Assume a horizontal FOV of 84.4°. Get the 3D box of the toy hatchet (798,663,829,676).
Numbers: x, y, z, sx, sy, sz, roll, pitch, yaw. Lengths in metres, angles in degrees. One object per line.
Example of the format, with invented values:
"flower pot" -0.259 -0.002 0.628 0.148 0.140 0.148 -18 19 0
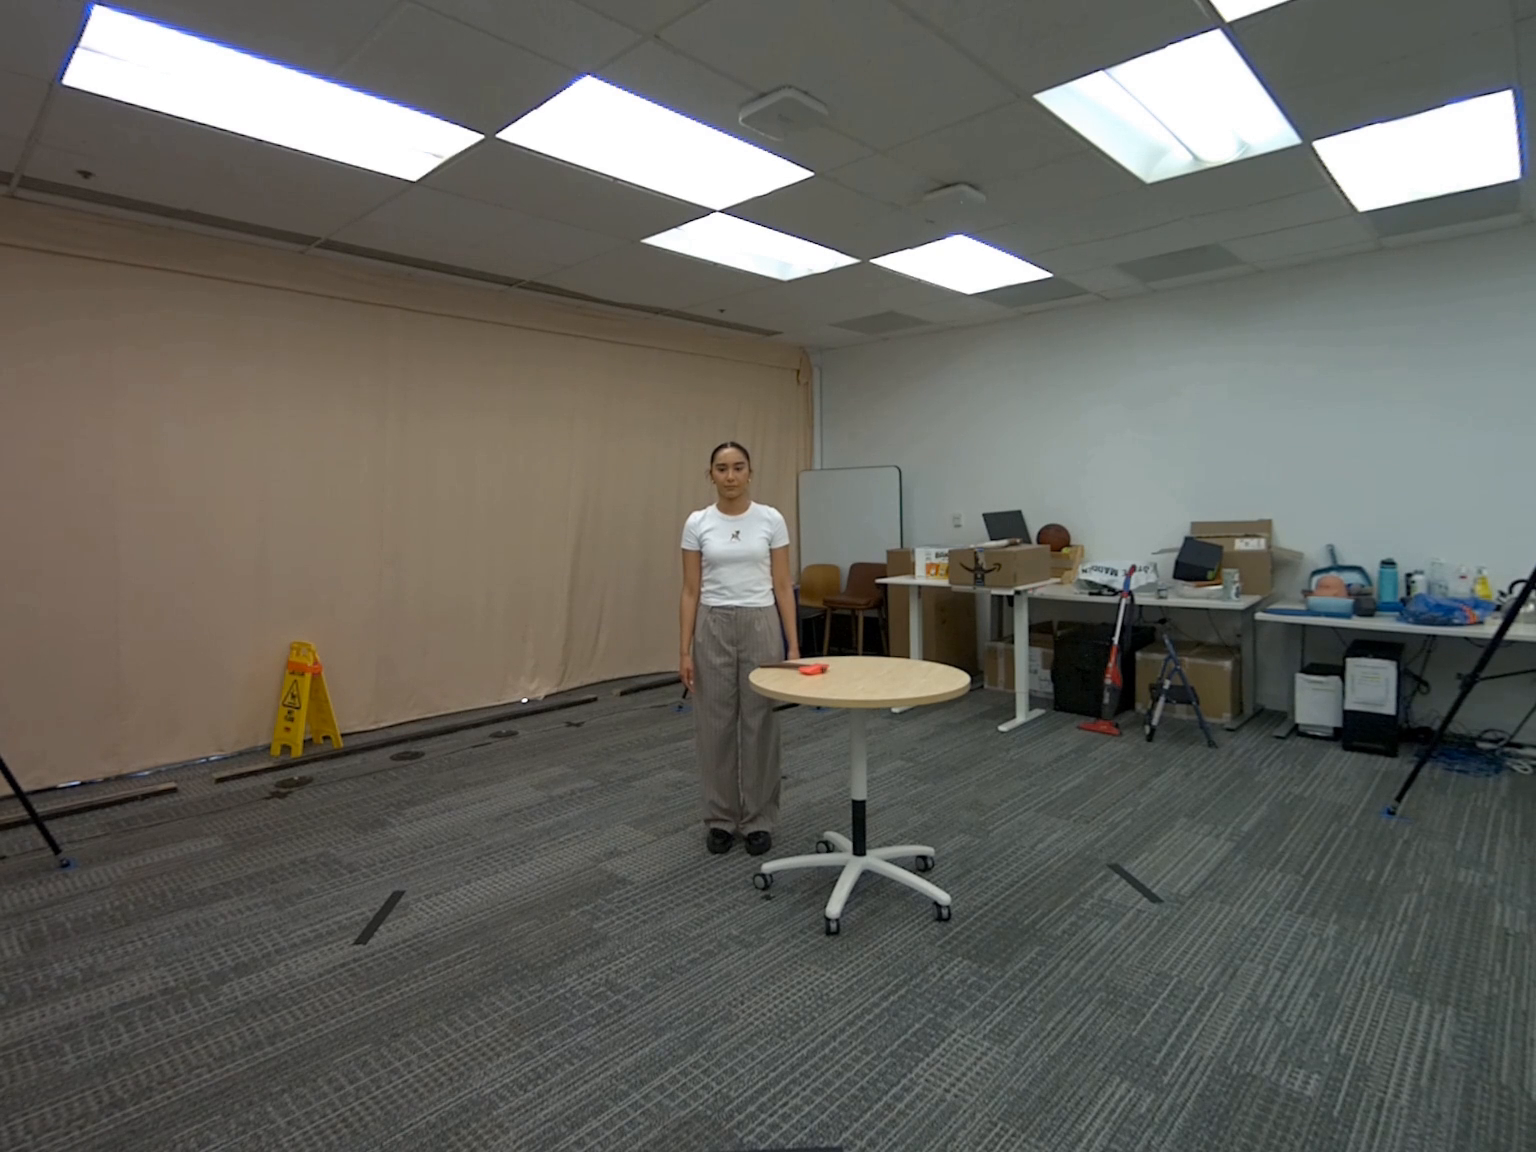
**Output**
"toy hatchet" 0.088 0.339 3.073 0.276 0.029 0.129 -2 9 23
